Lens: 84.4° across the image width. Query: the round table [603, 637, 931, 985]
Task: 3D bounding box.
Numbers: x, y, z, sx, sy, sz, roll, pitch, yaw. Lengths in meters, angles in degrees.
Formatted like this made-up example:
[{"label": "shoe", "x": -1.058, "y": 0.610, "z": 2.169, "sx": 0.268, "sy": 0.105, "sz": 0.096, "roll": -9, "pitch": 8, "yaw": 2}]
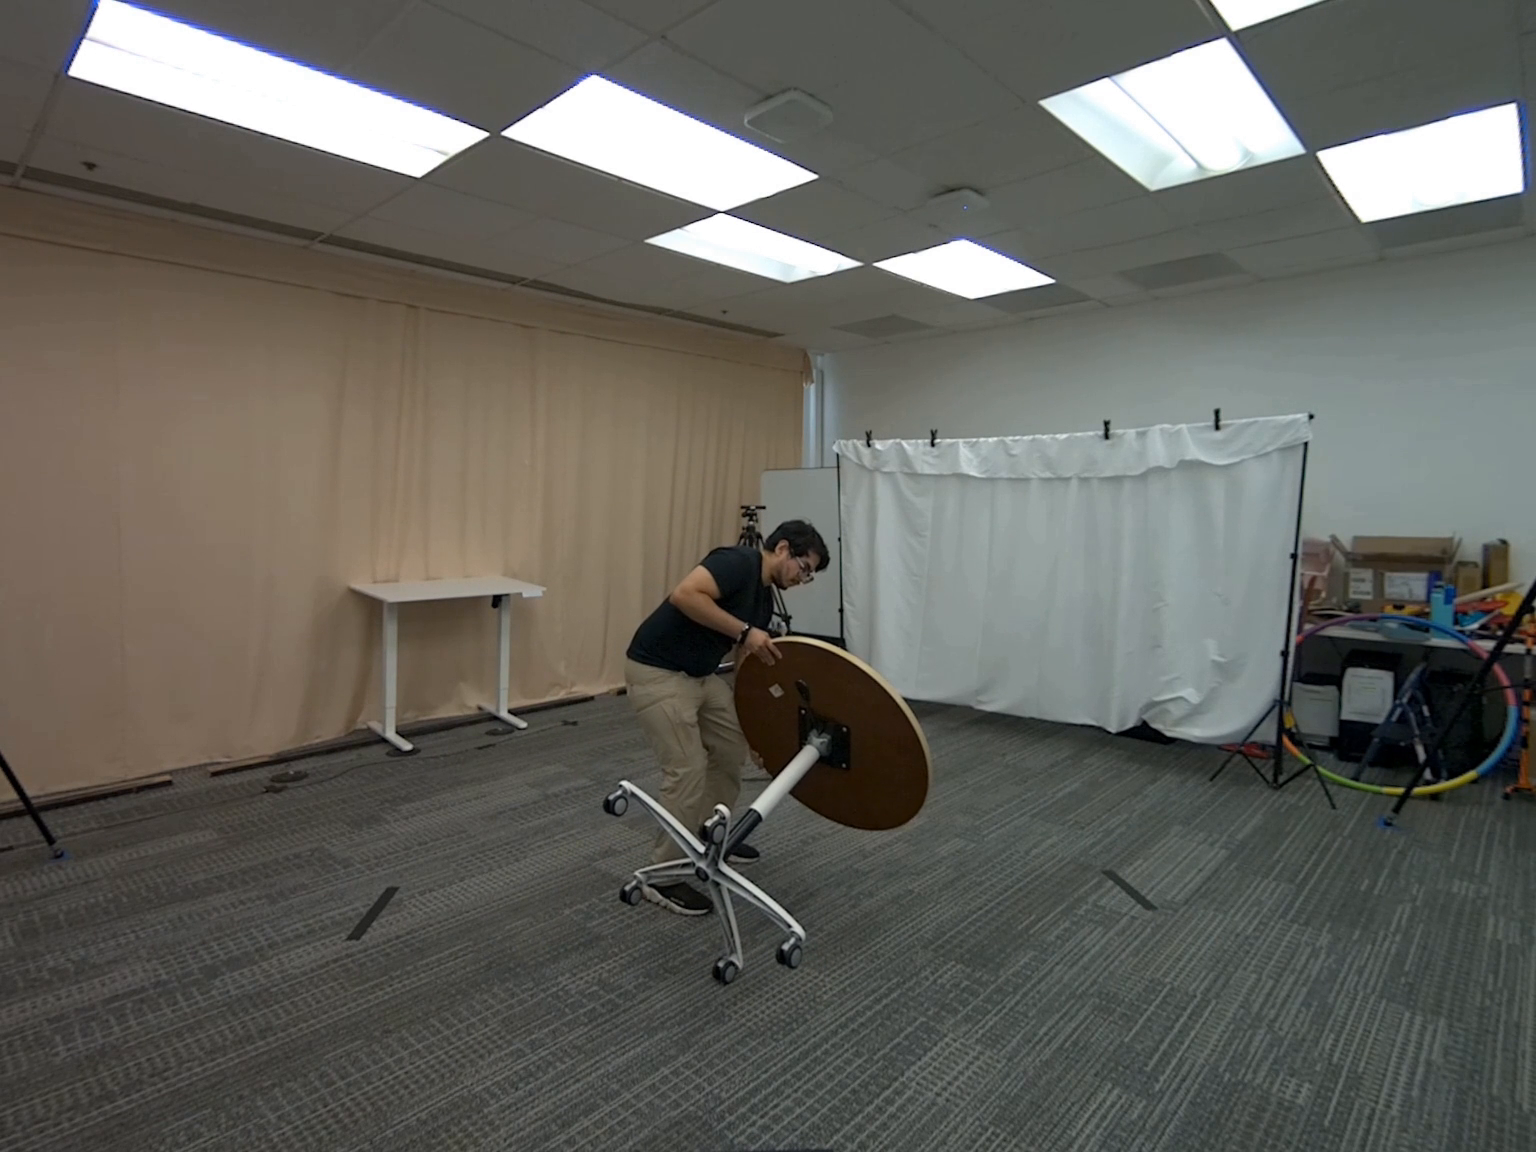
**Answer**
[{"label": "round table", "x": -0.012, "y": 0.709, "z": 2.617, "sx": 0.811, "sy": 0.771, "sz": 0.775, "roll": 3, "pitch": 28, "yaw": 39}]
